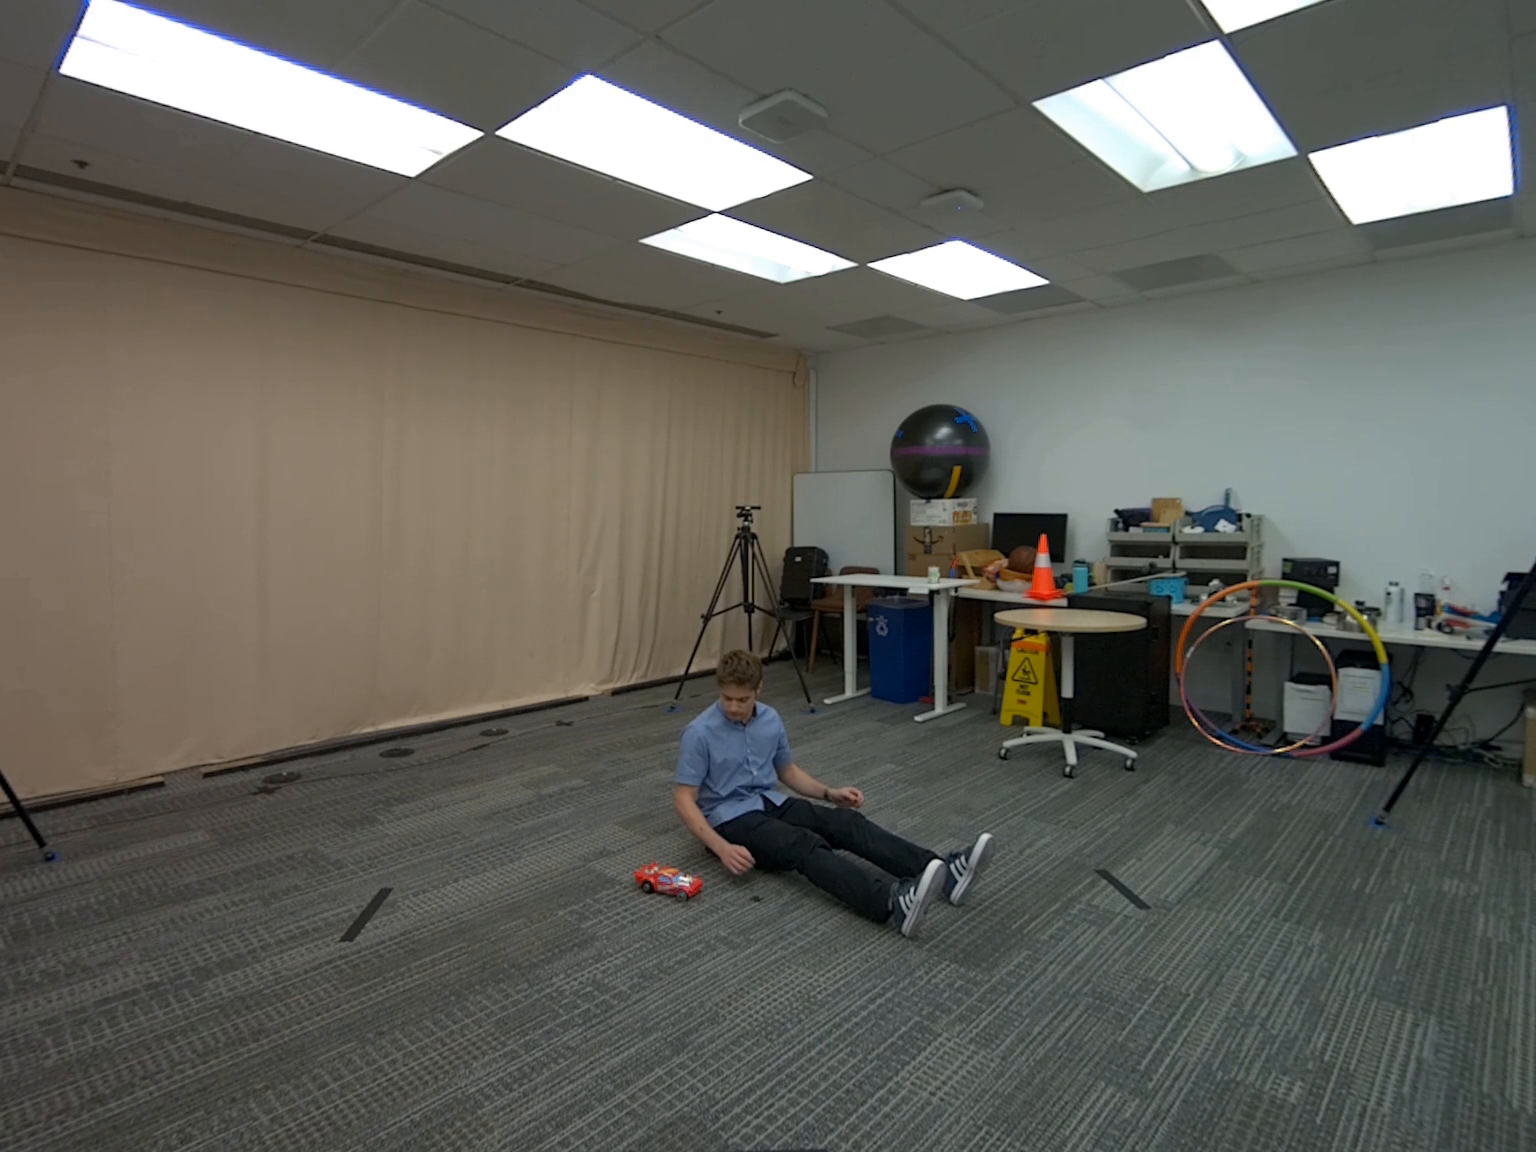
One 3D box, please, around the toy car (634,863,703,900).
[{"bbox_3d":[-0.372,1.111,3.050,0.262,0.083,0.127,15,12,28],"label":"toy car"}]
